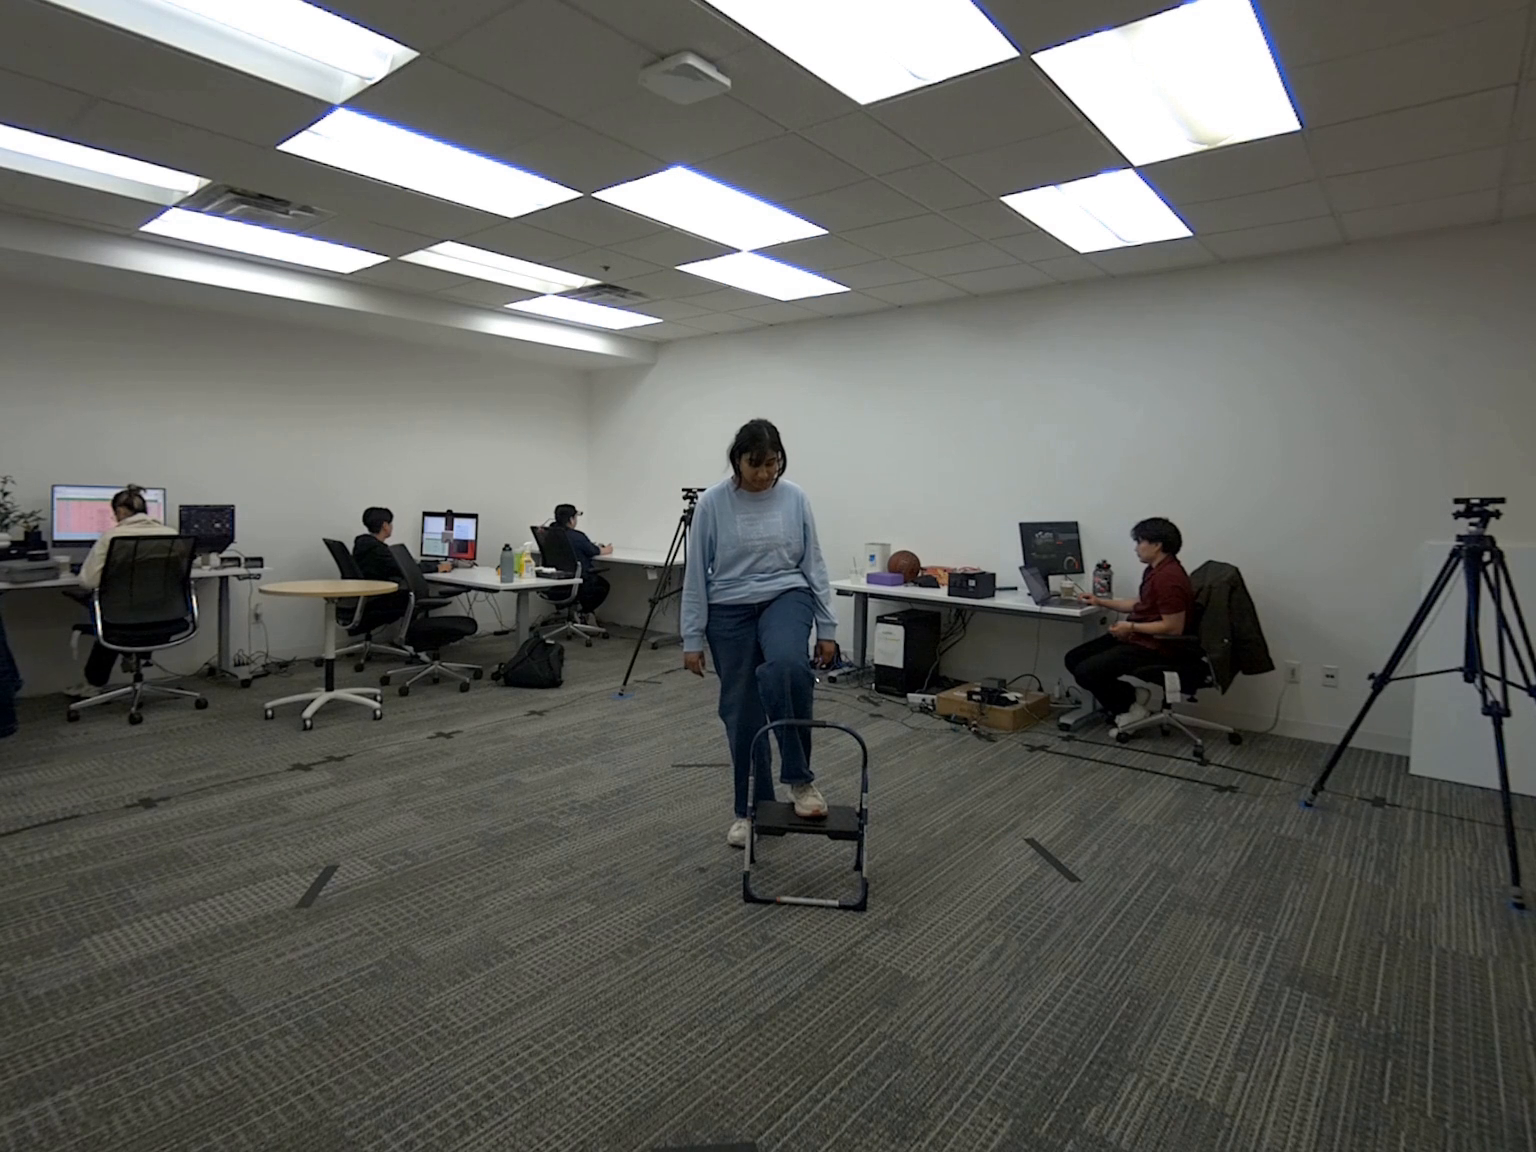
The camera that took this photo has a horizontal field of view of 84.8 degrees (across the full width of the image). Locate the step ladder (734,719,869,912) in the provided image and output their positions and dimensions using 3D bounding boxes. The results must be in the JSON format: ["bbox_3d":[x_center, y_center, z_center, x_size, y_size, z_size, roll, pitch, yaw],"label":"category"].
[{"bbox_3d":[0.129,0.789,2.994,0.433,0.605,0.348,1,3,4],"label":"step ladder"}]
